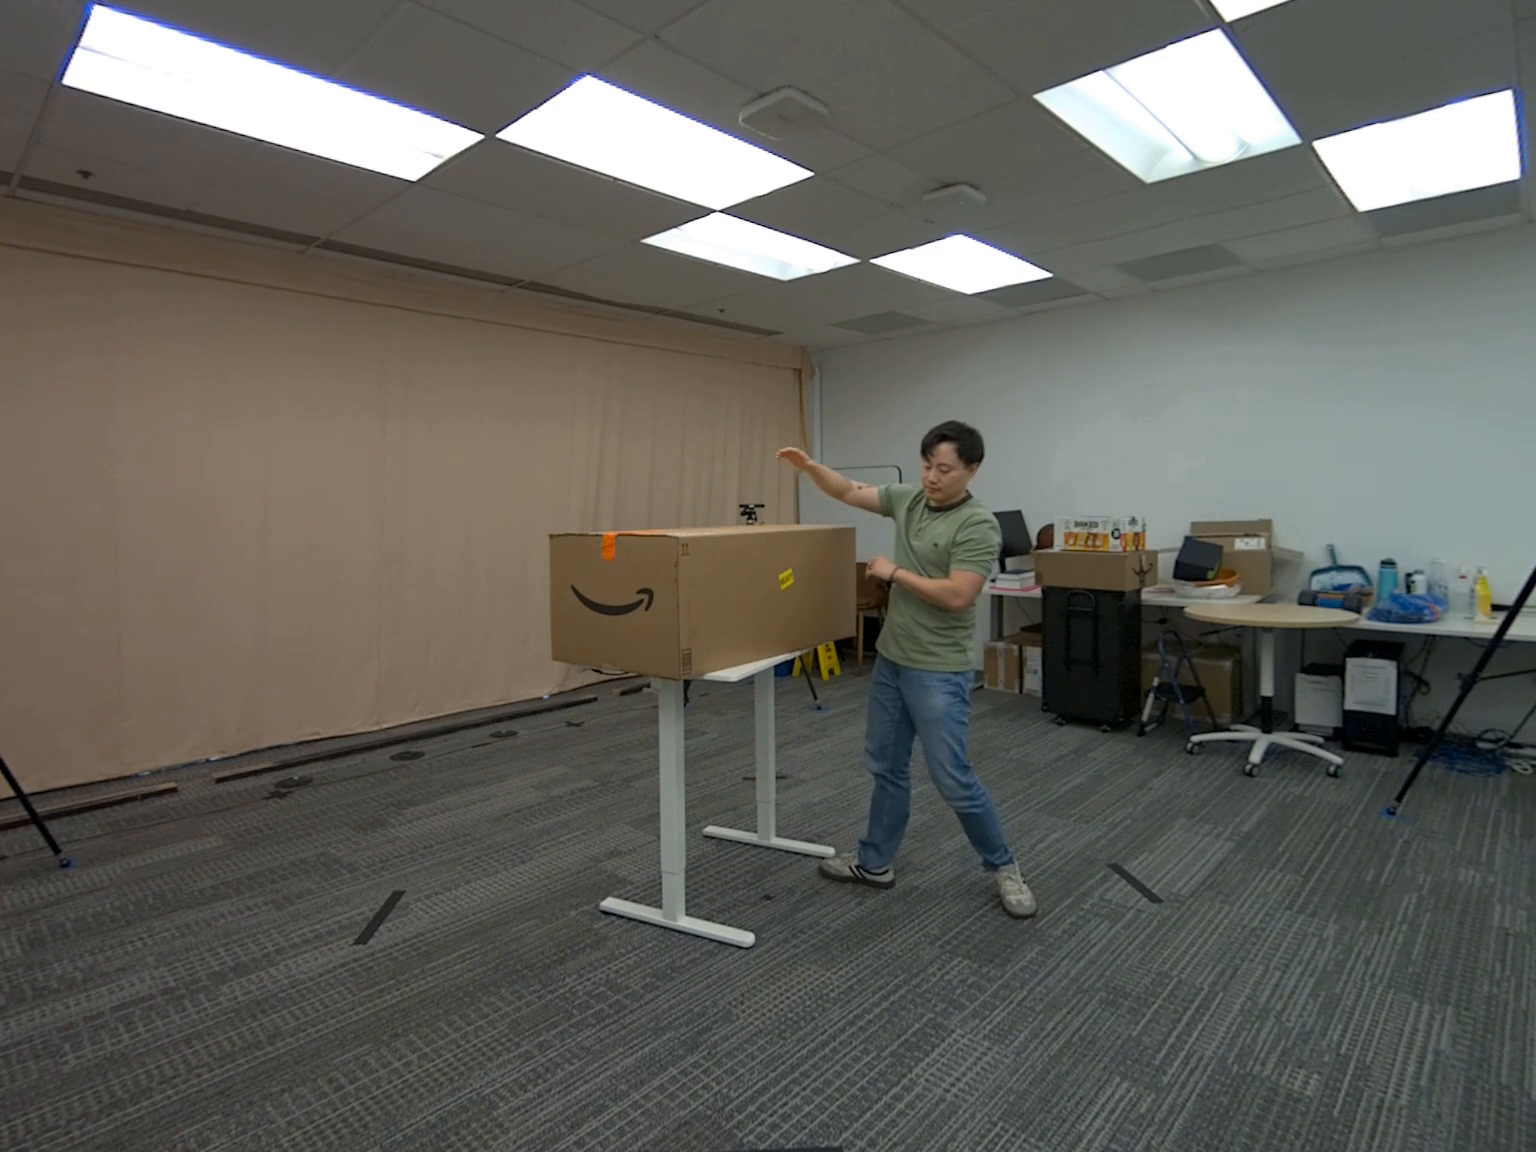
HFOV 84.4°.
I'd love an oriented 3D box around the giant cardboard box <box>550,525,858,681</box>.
[{"bbox_3d":[-0.193,0.047,3.012,0.596,0.425,0.996,3,5,37],"label":"giant cardboard box"}]
